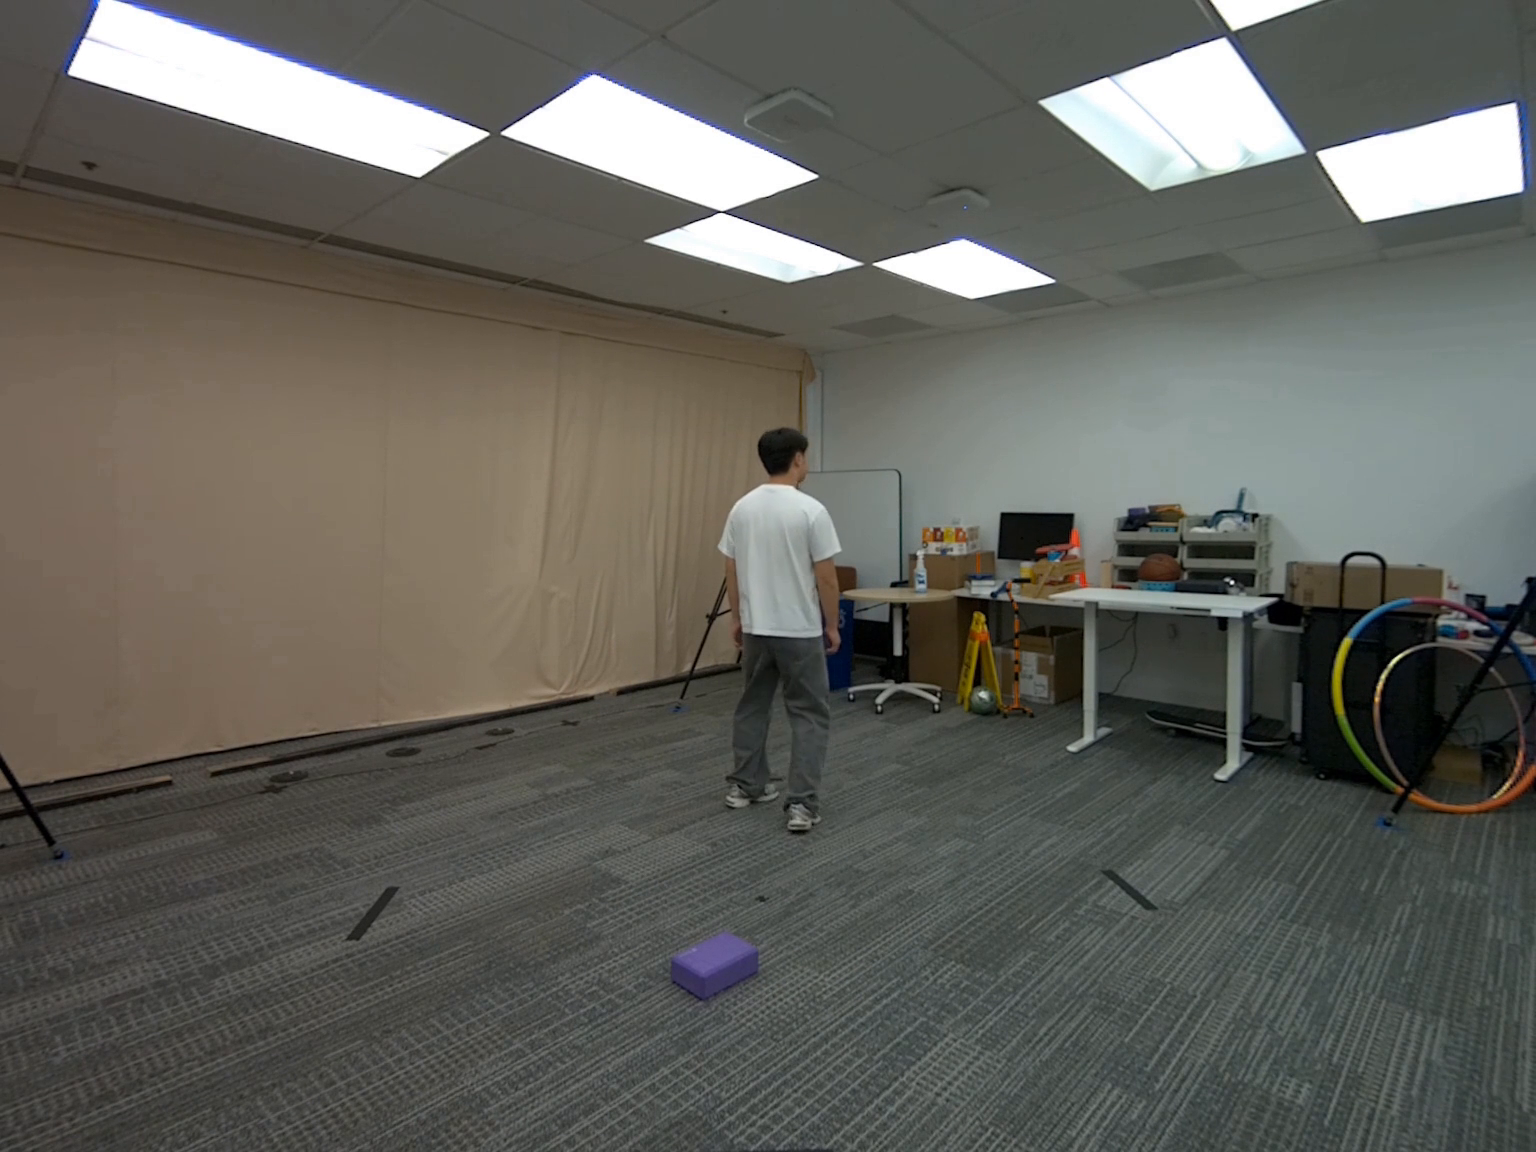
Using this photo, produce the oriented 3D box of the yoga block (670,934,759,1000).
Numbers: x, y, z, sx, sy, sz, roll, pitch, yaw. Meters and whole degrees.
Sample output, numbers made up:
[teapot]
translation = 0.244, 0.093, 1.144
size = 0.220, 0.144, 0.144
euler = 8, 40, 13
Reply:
[yoga block]
translation = -0.151, 1.148, 2.485
size = 0.222, 0.076, 0.154
euler = -5, 7, -43
